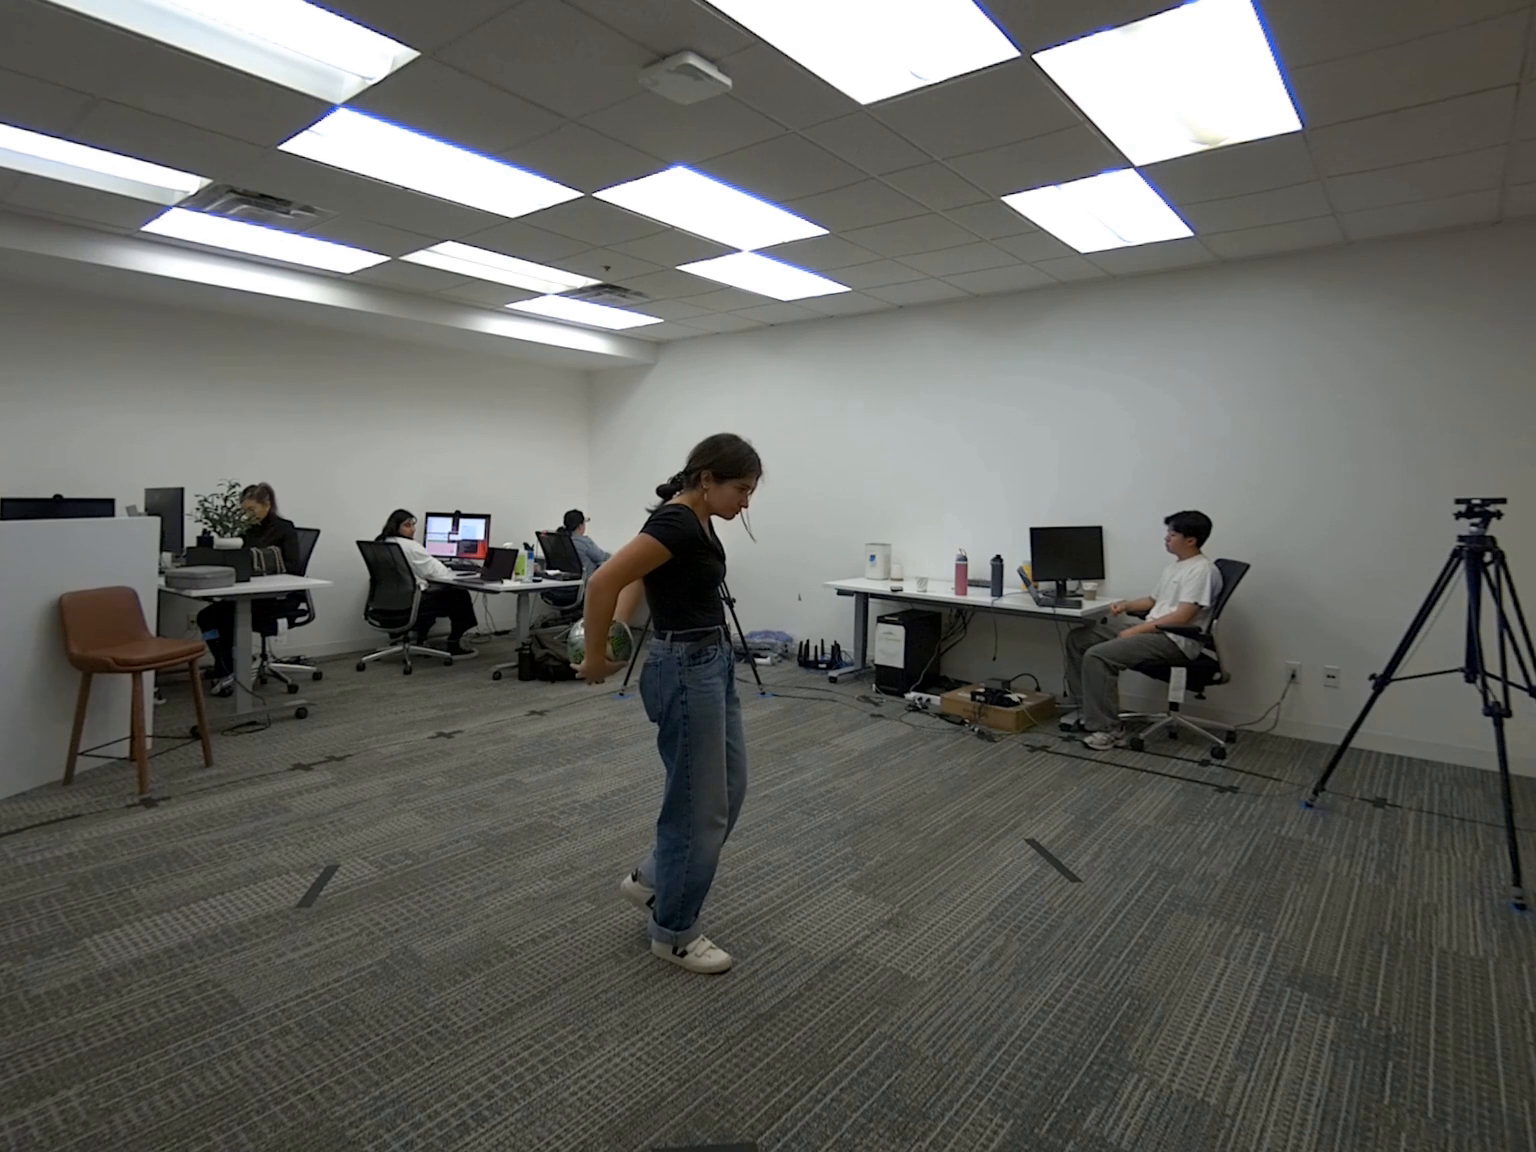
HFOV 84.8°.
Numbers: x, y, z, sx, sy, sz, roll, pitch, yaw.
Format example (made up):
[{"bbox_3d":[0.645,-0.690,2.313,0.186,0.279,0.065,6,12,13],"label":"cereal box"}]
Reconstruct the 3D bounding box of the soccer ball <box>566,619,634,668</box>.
[{"bbox_3d":[-0.477,0.196,2.465,0.187,0.187,0.188,1,4,-2],"label":"soccer ball"}]
